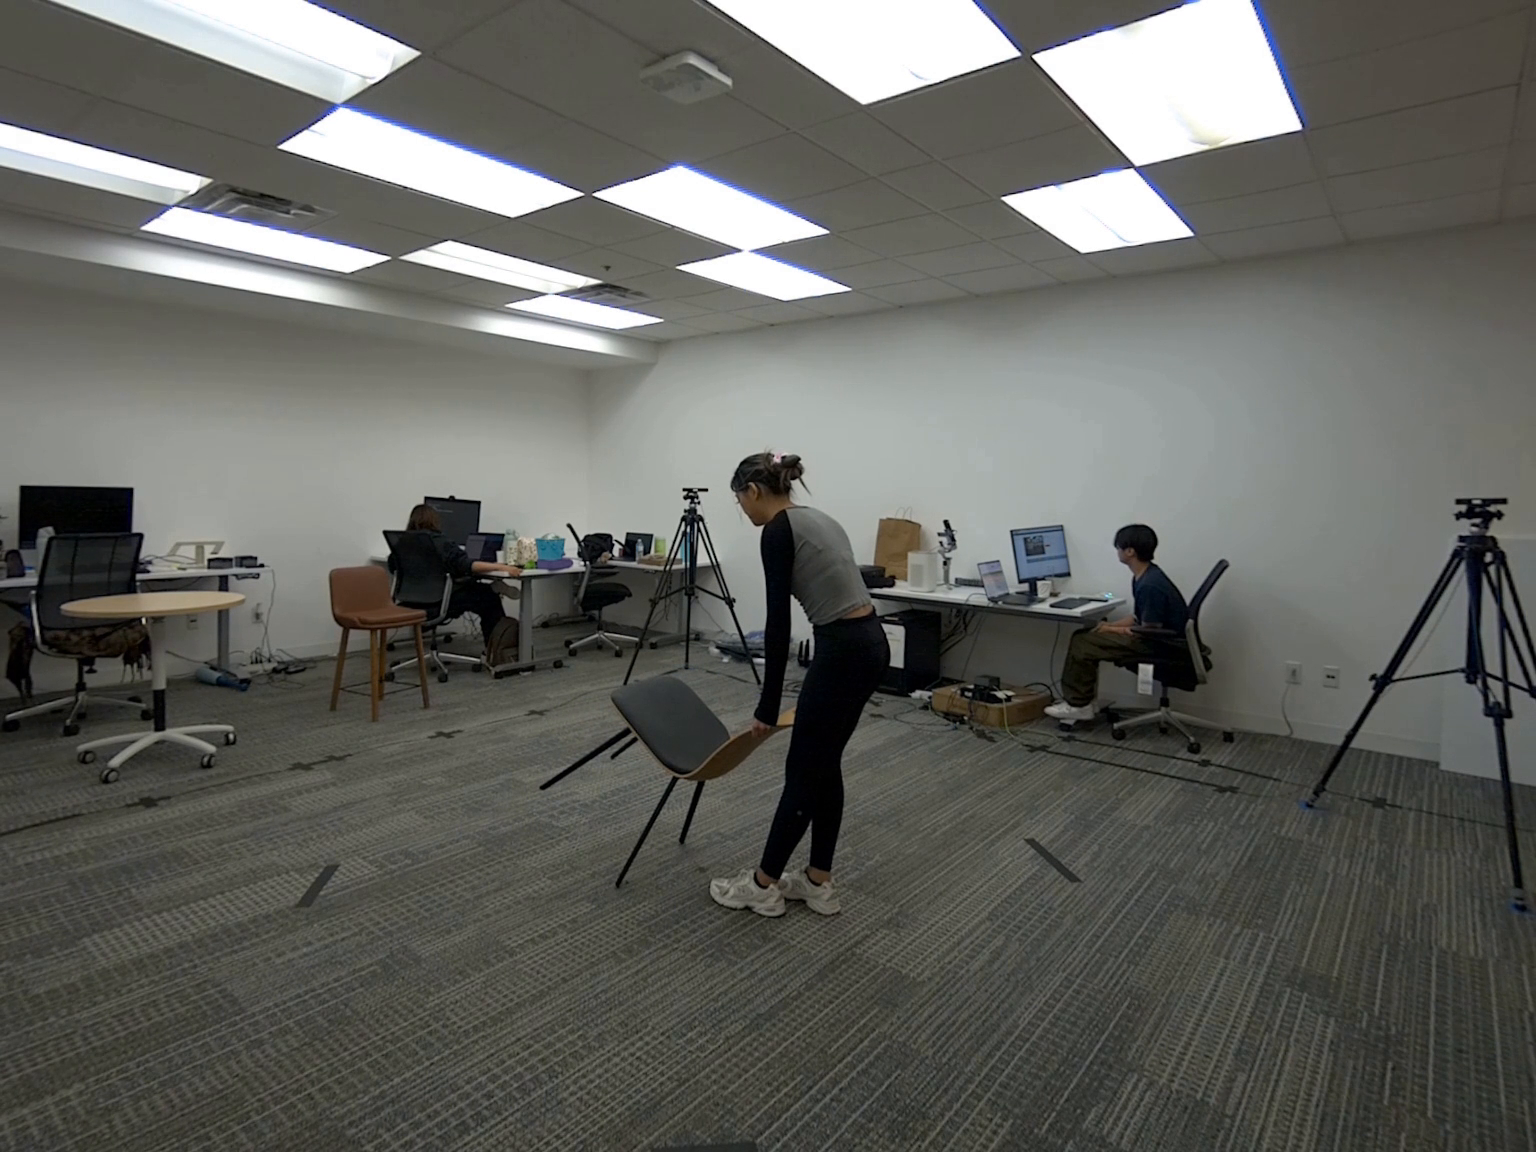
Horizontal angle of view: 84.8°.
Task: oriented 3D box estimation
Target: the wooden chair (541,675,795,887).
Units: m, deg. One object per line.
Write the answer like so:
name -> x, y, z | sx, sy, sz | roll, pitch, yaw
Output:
wooden chair -> -0.344, 0.593, 3.077 | 0.877, 0.536, 0.466 | -47, -18, 21
